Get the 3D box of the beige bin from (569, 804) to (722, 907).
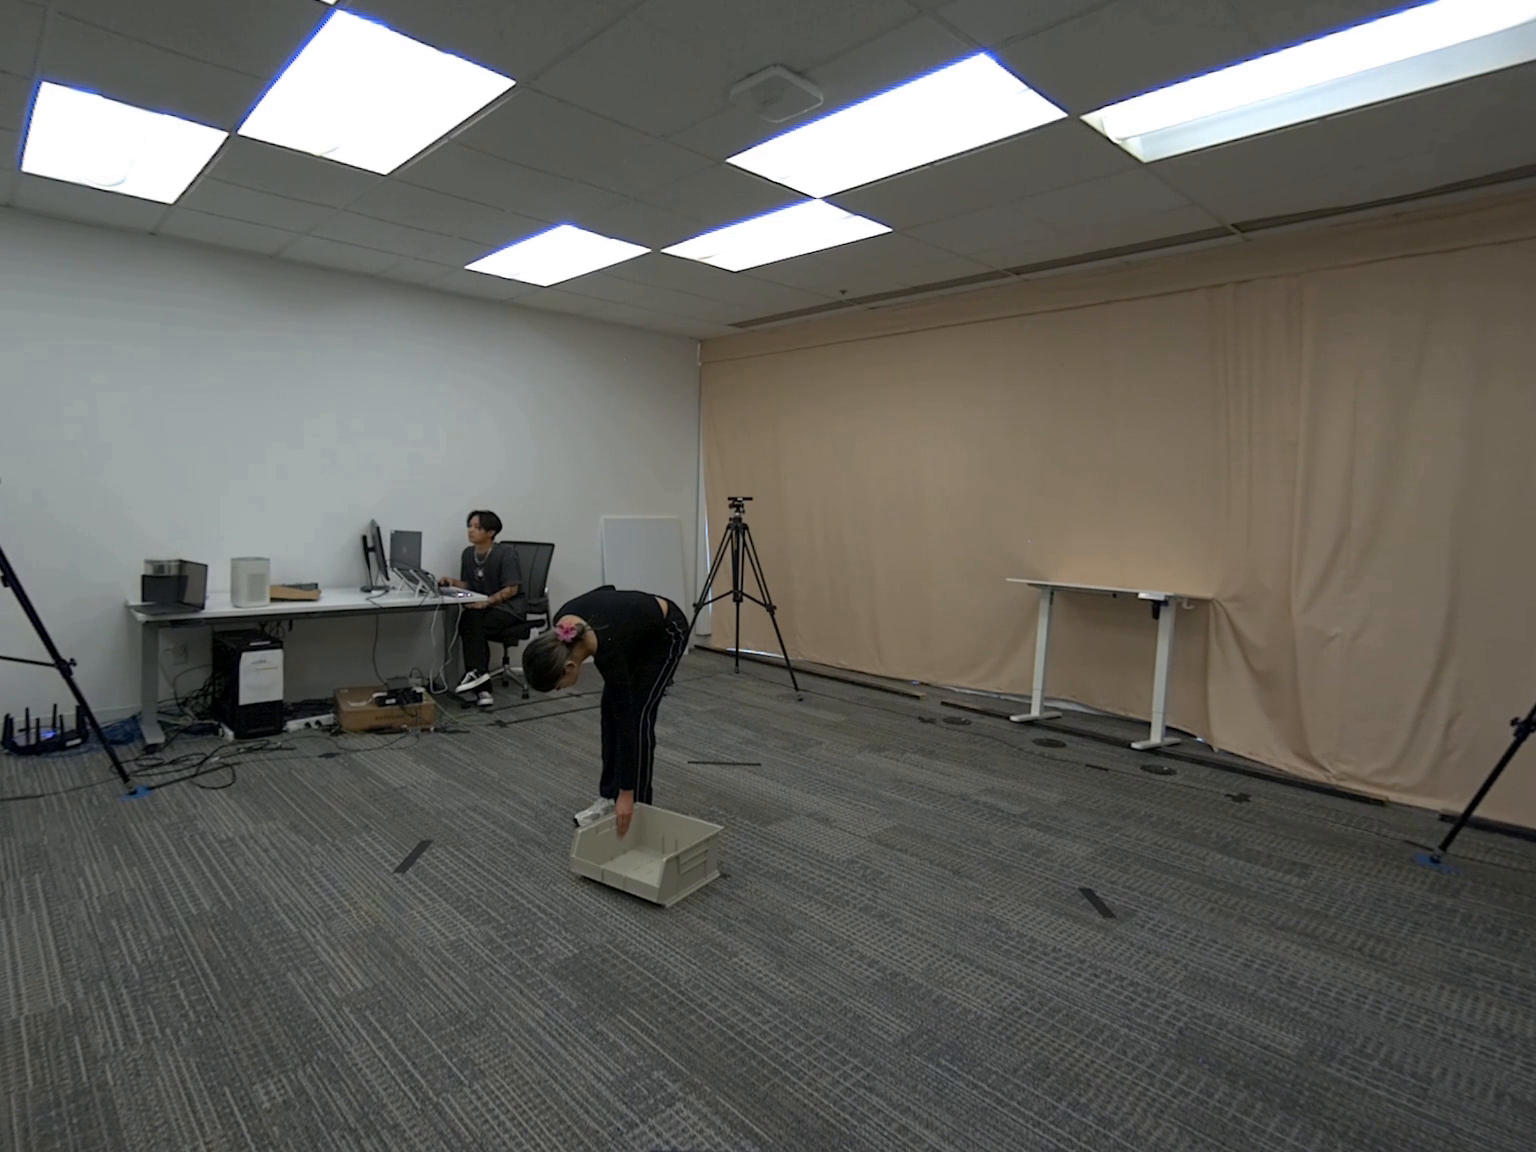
[{"bbox_3d":[-0.447,1.017,3.075,0.432,0.188,0.369,4,5,33],"label":"beige bin"}]
